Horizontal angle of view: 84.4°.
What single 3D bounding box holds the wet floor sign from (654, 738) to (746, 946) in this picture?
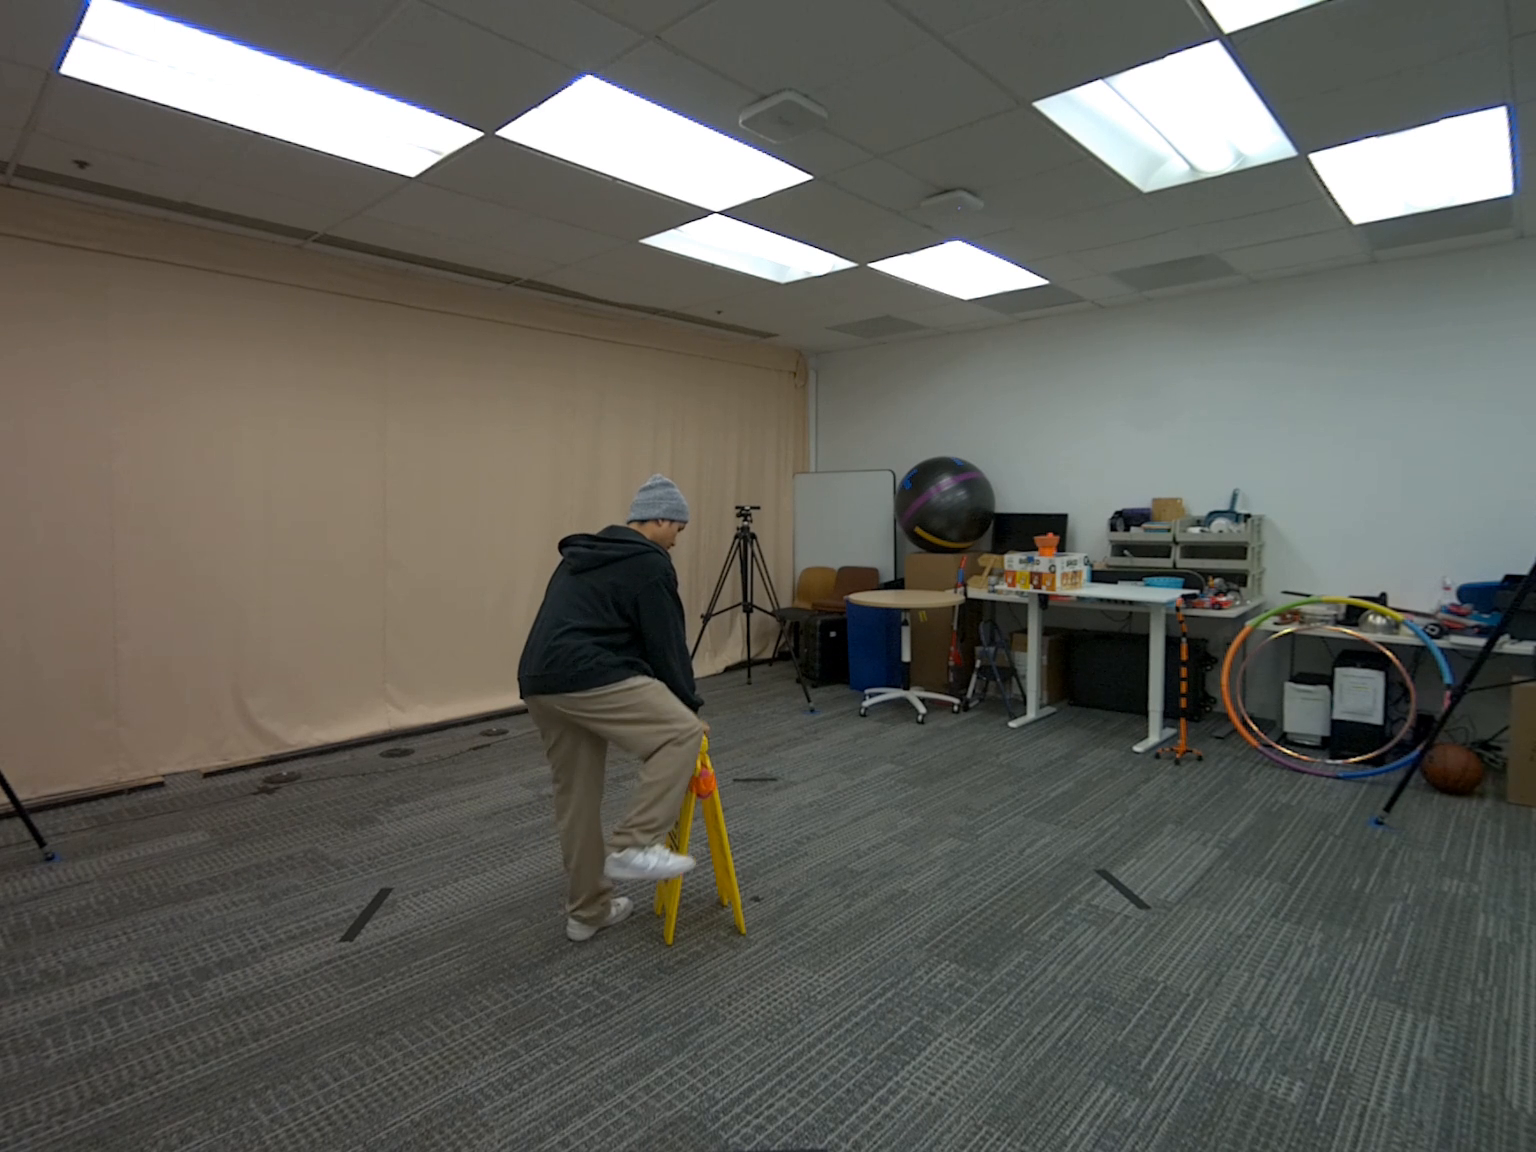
[{"bbox_3d":[-0.238,0.833,2.809,0.285,0.645,0.287,0,2,-16],"label":"wet floor sign"}]
